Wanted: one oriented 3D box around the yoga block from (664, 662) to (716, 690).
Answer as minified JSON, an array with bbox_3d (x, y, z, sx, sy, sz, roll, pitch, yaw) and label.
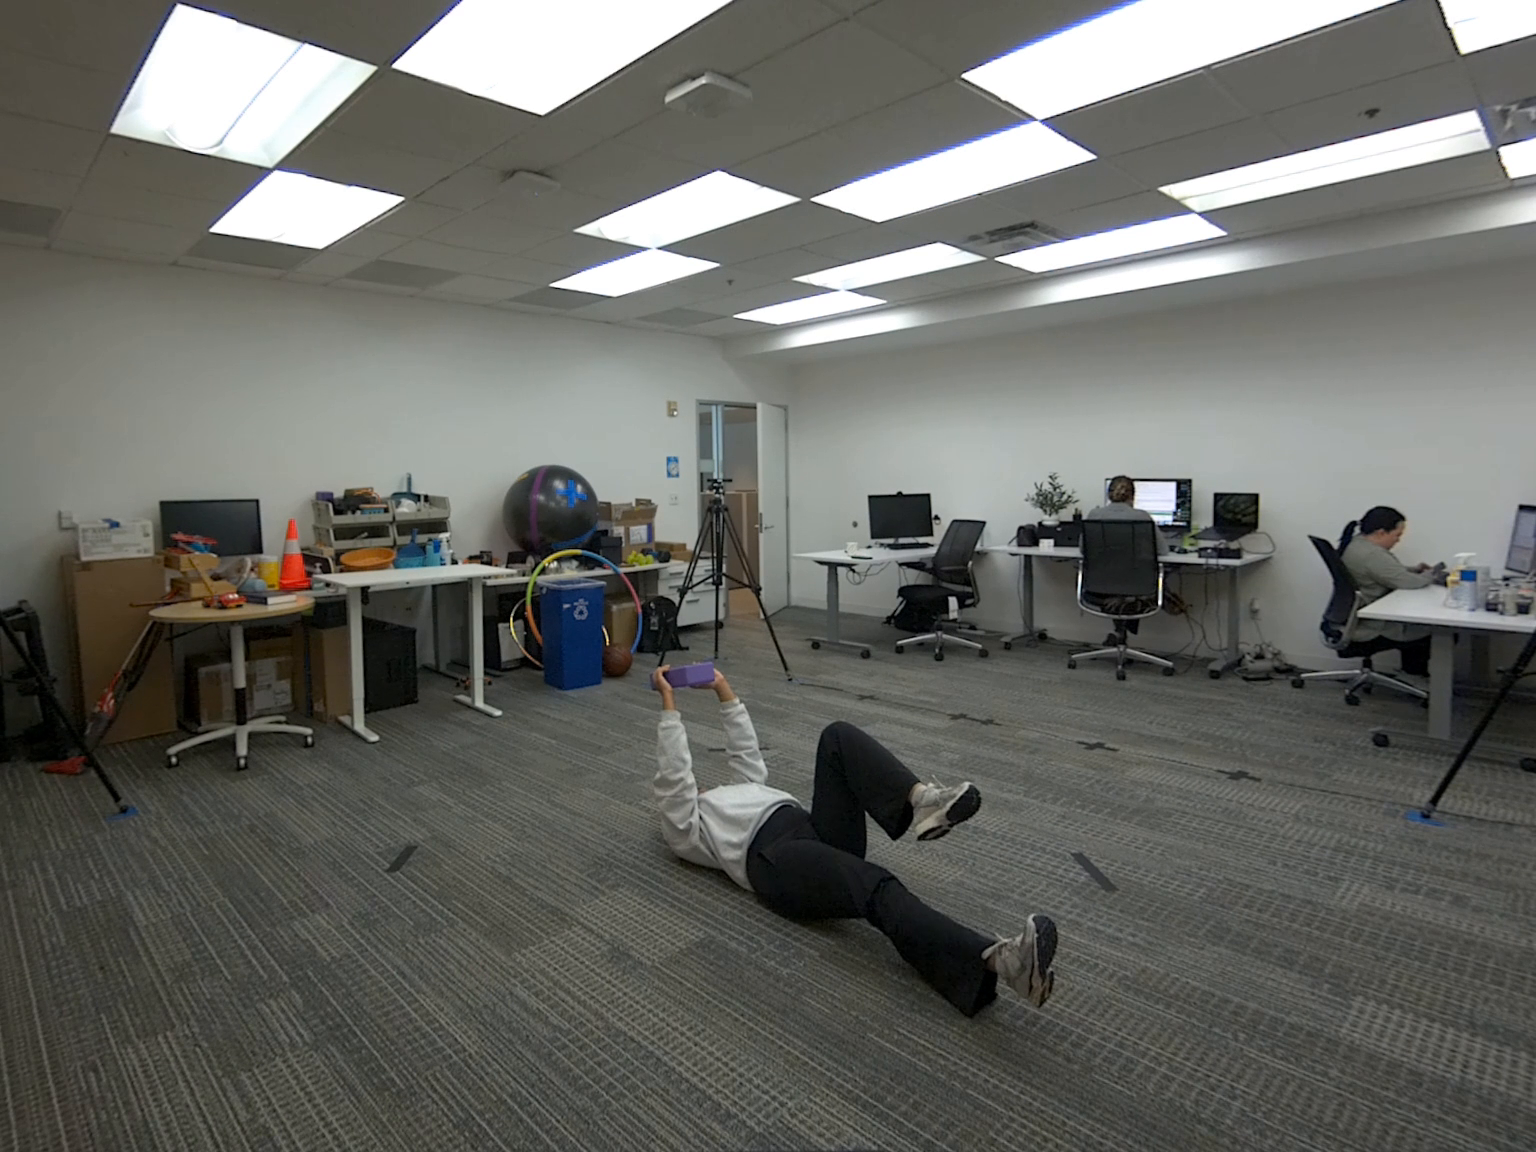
[{"bbox_3d":[-0.336,0.388,3.296,0.234,0.077,0.145,-14,-9,43],"label":"yoga block"}]
